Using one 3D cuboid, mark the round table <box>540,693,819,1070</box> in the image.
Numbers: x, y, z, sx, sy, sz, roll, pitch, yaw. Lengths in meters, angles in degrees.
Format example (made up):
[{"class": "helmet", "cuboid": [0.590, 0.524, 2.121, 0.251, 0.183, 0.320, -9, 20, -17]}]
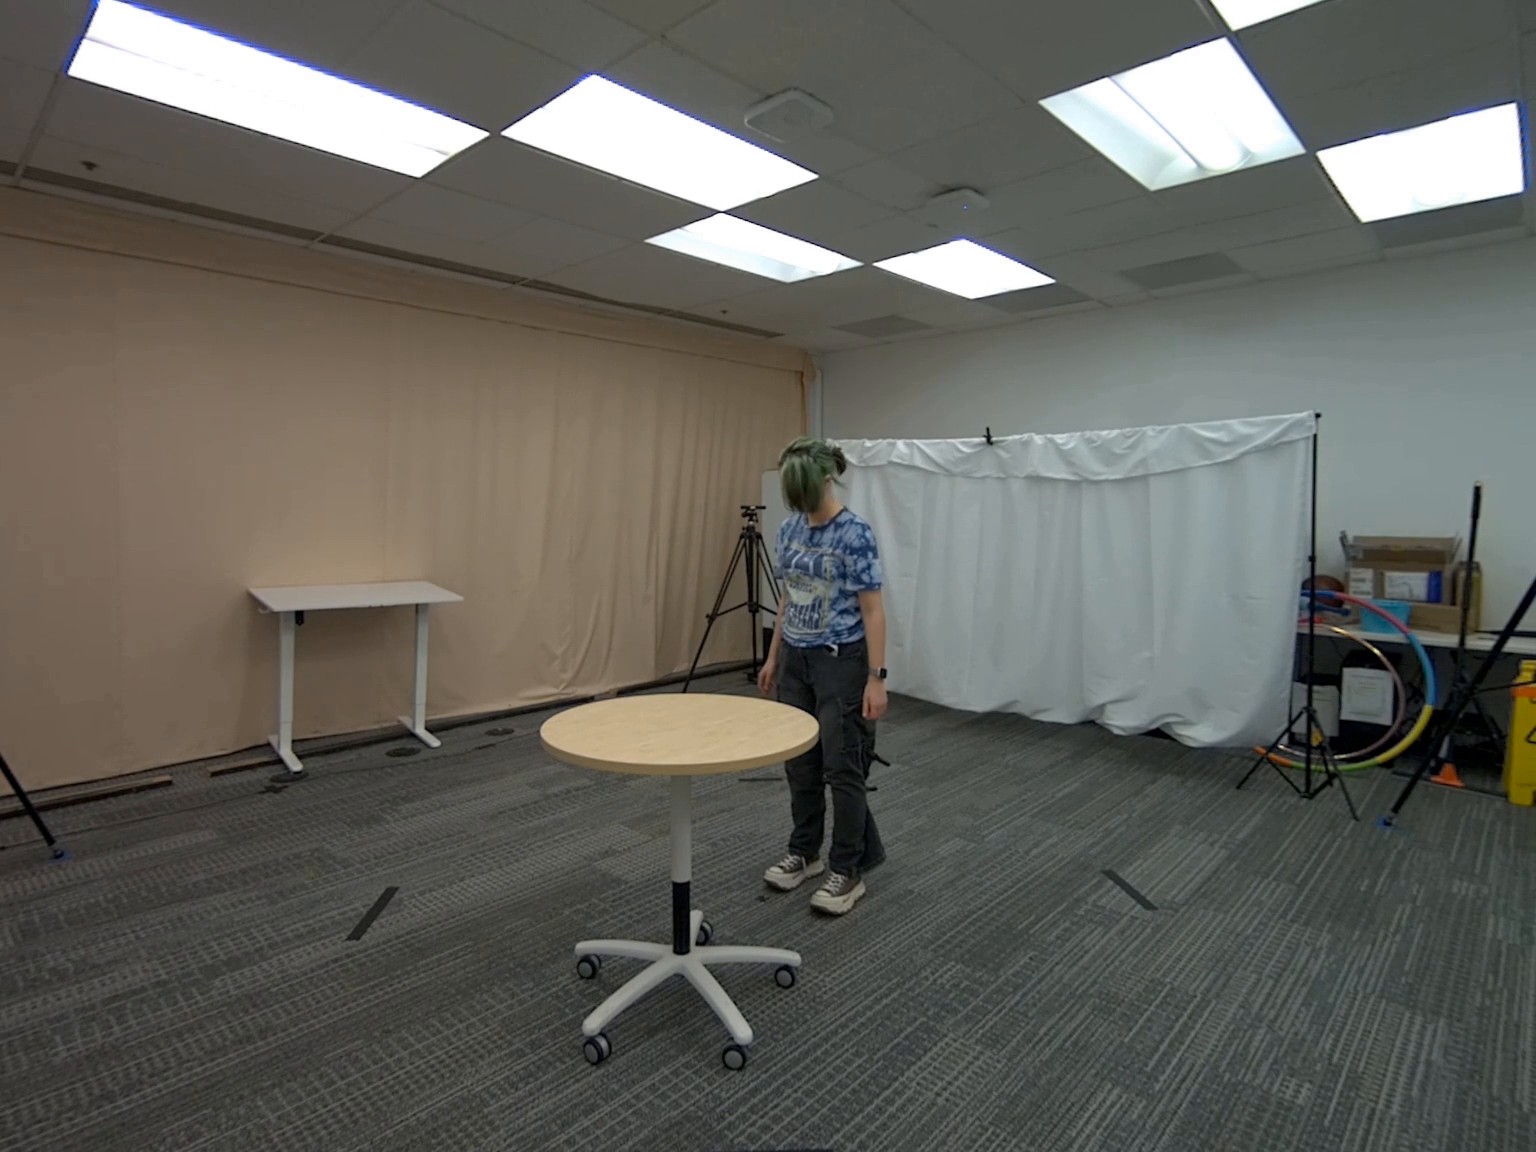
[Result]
[{"class": "round table", "cuboid": [-0.251, 0.810, 2.354, 0.763, 0.792, 0.766, -1, 4, -2]}]
